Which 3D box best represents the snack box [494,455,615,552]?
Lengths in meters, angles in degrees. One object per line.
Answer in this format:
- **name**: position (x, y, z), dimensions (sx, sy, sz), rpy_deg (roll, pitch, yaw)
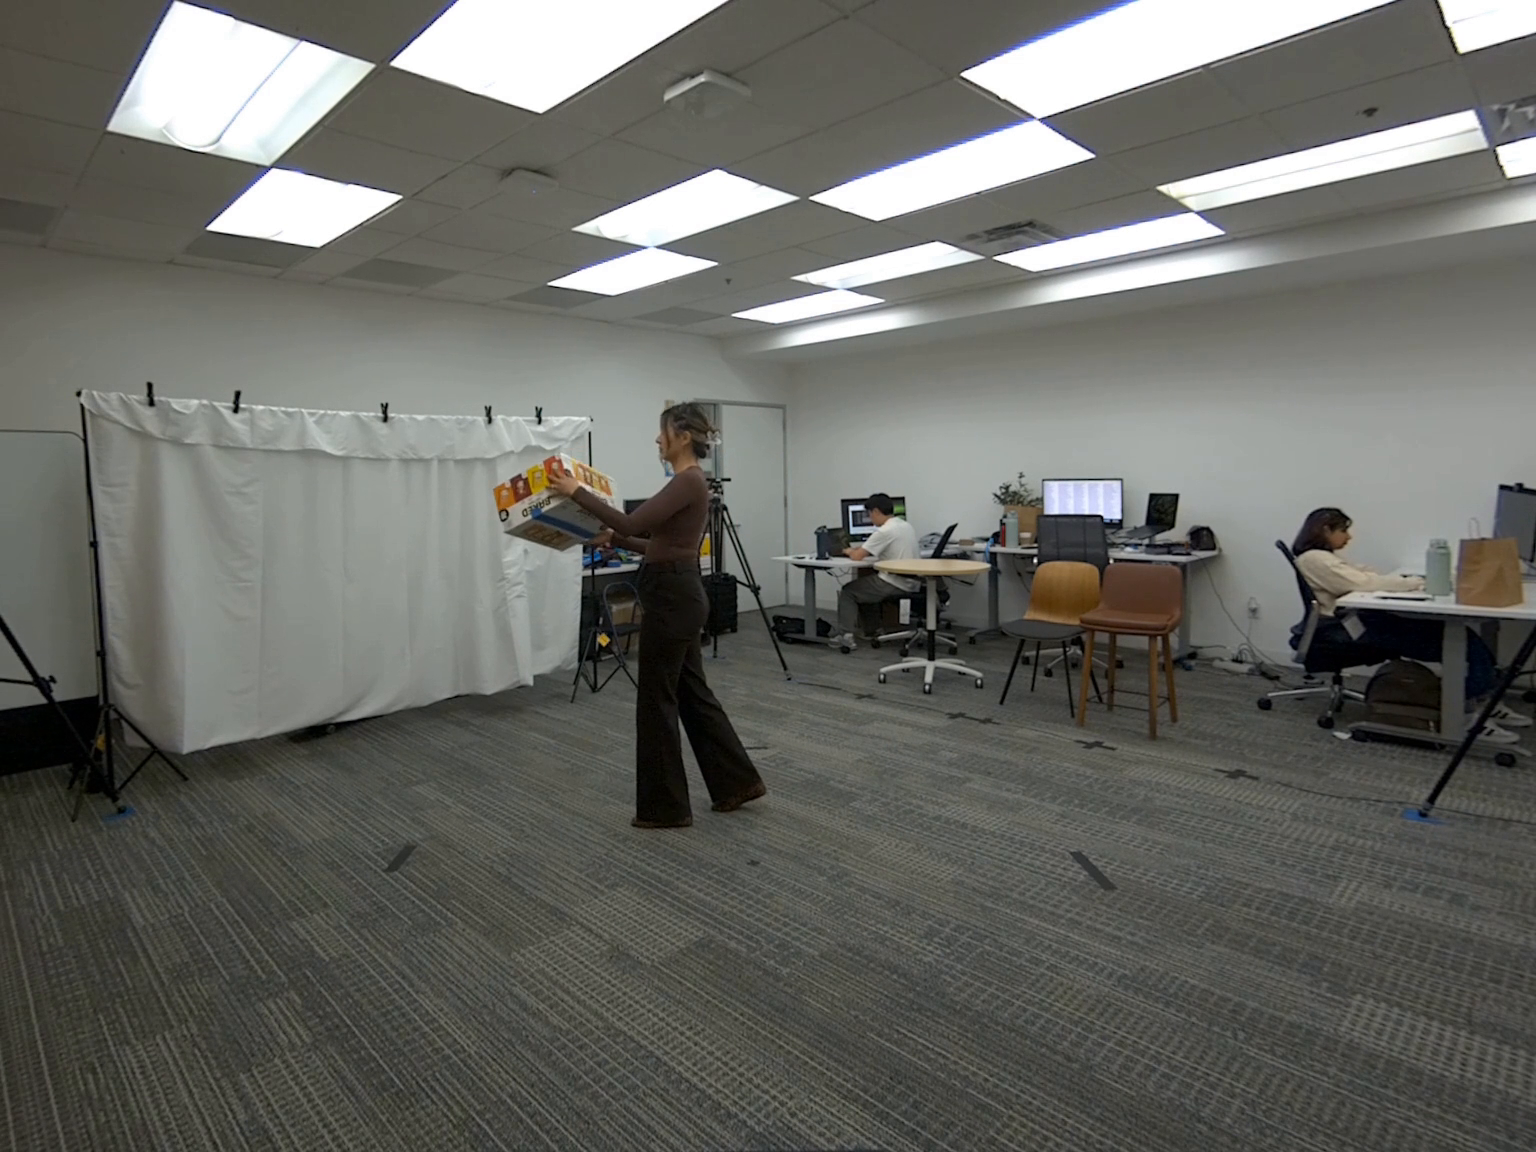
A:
- **snack box**: position (-0.850, -0.294, 3.525), dimensions (0.343, 0.210, 0.393), rpy_deg (-24, -18, 16)
